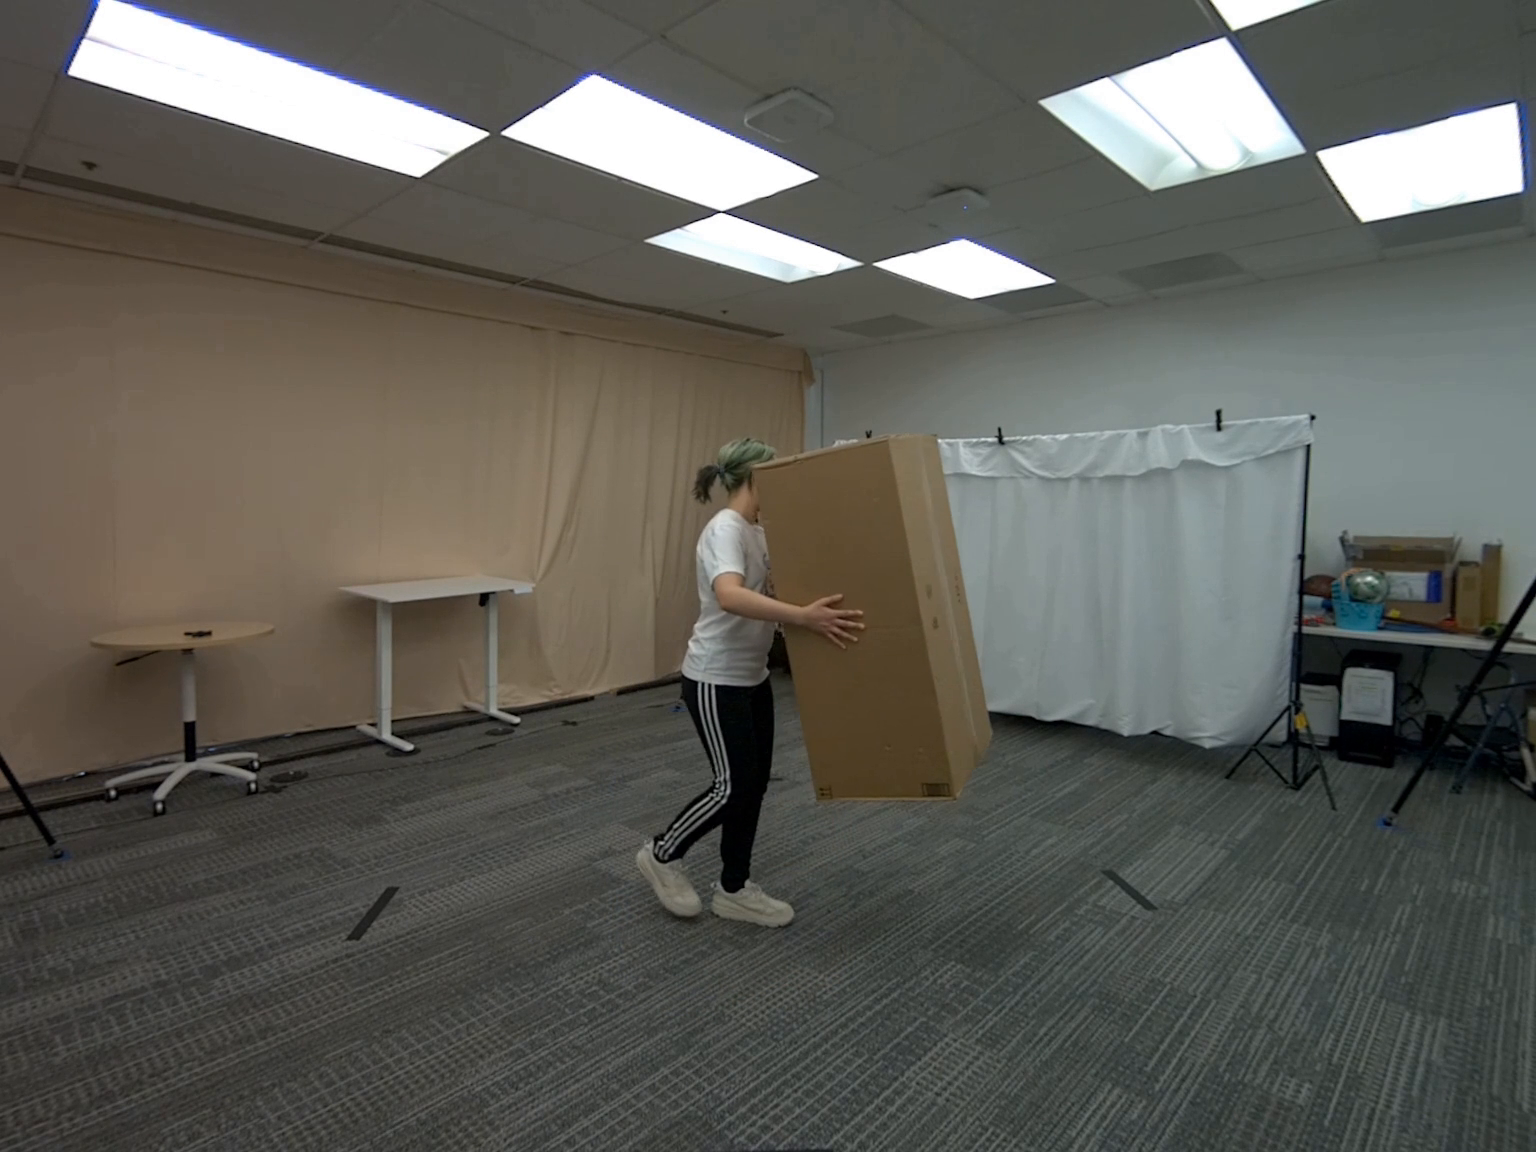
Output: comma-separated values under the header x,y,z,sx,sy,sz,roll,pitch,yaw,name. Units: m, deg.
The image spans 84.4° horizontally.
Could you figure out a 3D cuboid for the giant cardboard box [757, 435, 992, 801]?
x,y,z,sx,sy,sz,roll,pitch,yaw,name
0.348,0.108,2.644,0.457,1.025,0.572,-9,3,26,giant cardboard box
